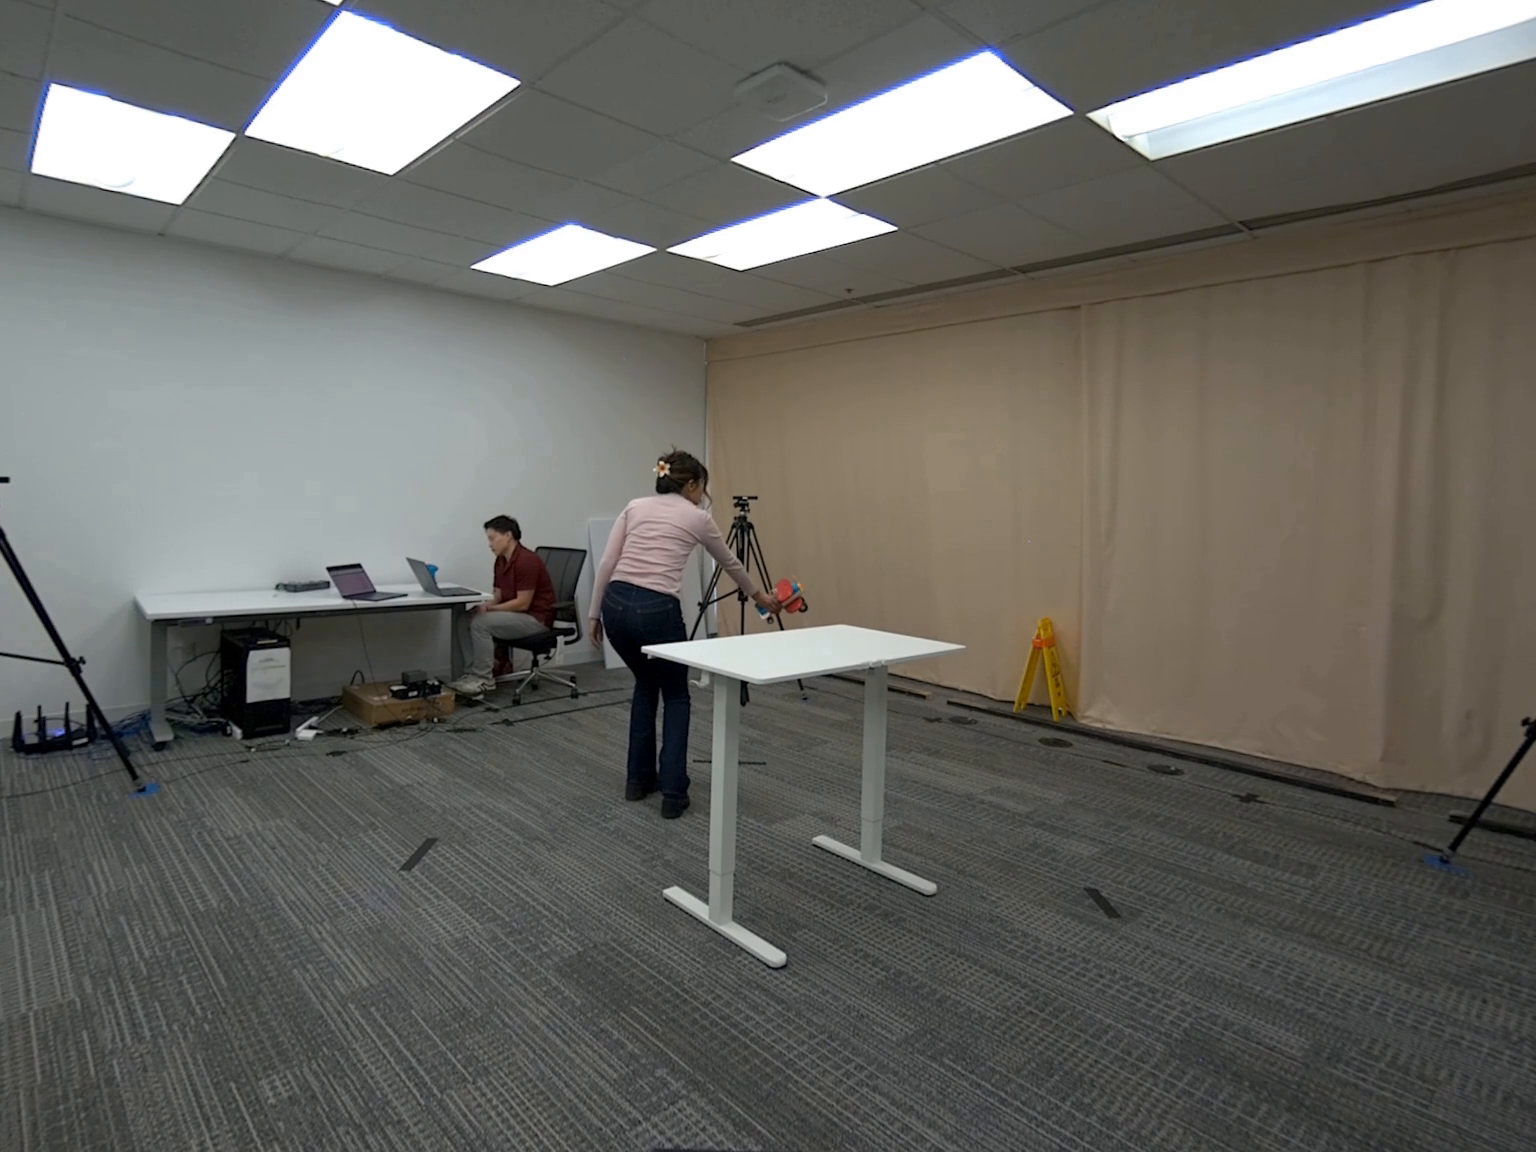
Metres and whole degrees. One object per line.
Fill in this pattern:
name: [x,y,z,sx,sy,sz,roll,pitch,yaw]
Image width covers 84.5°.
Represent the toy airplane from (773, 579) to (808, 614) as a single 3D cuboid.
toy airplane: [0.062,0.137,4.261,0.257,0.154,0.257,-32,20,-26]
